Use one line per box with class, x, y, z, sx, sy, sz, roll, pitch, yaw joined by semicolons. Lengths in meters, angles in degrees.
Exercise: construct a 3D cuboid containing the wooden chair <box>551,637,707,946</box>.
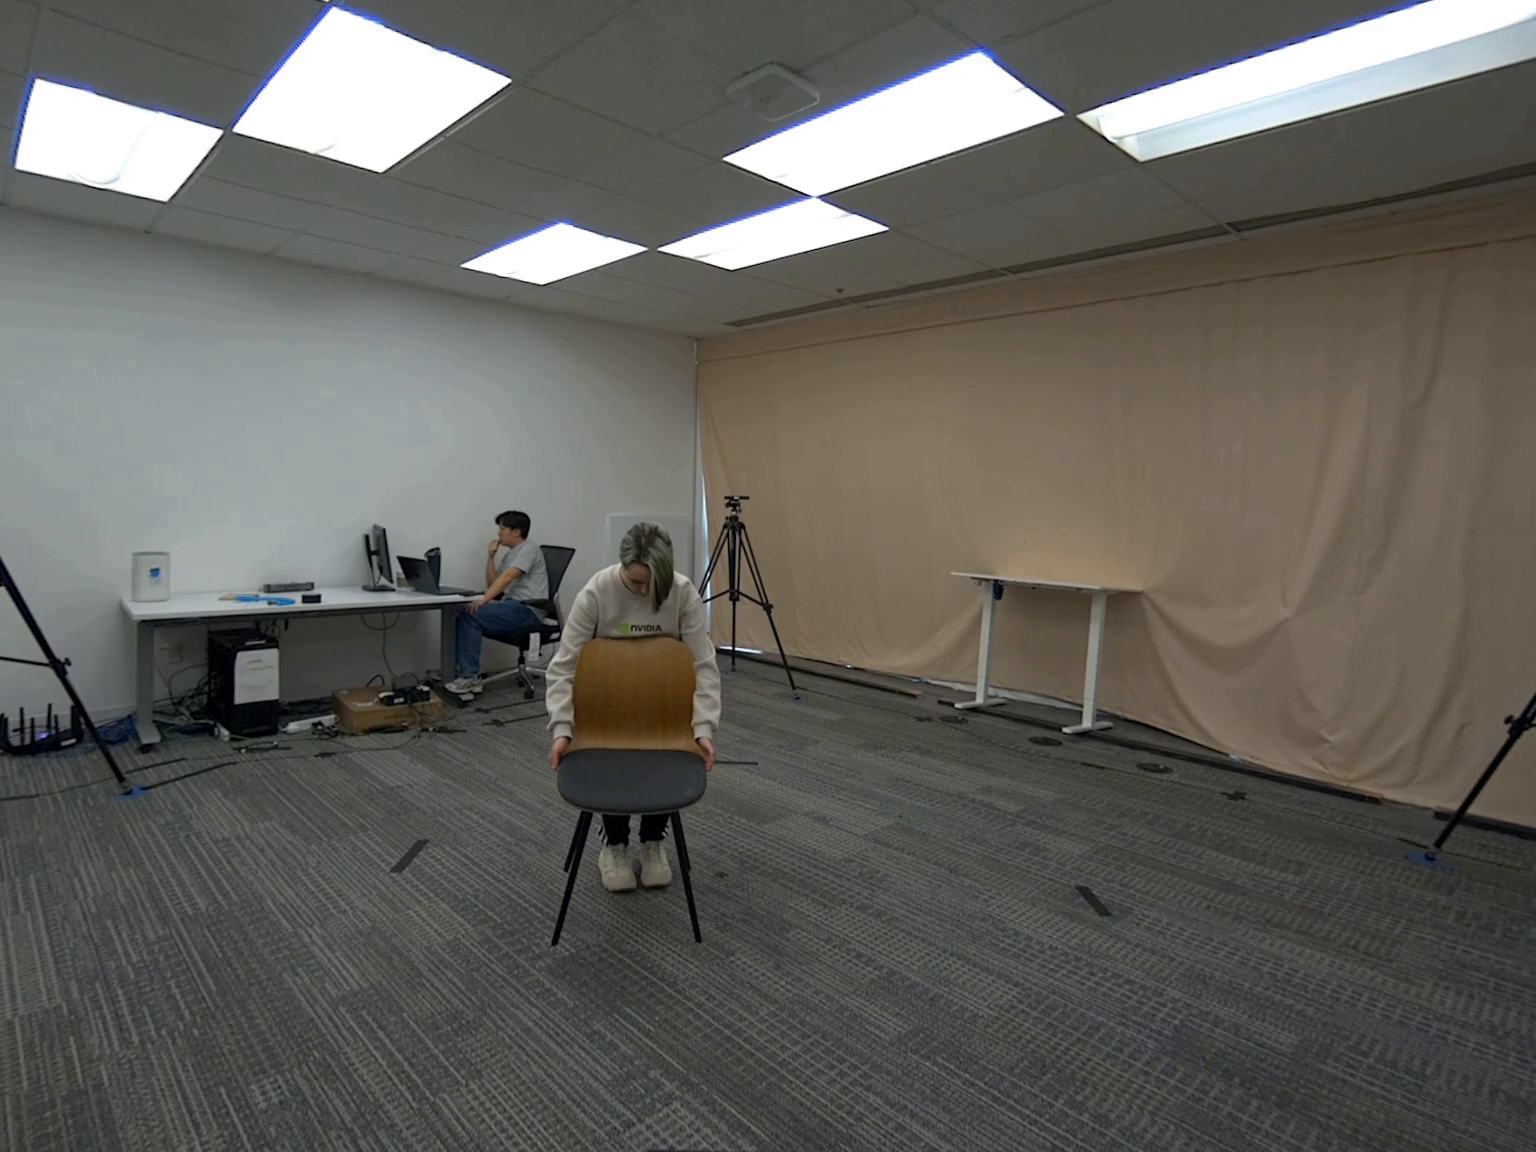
wooden chair;-0.433;0.667;2.696;0.475;0.875;0.528;2;3;-9
